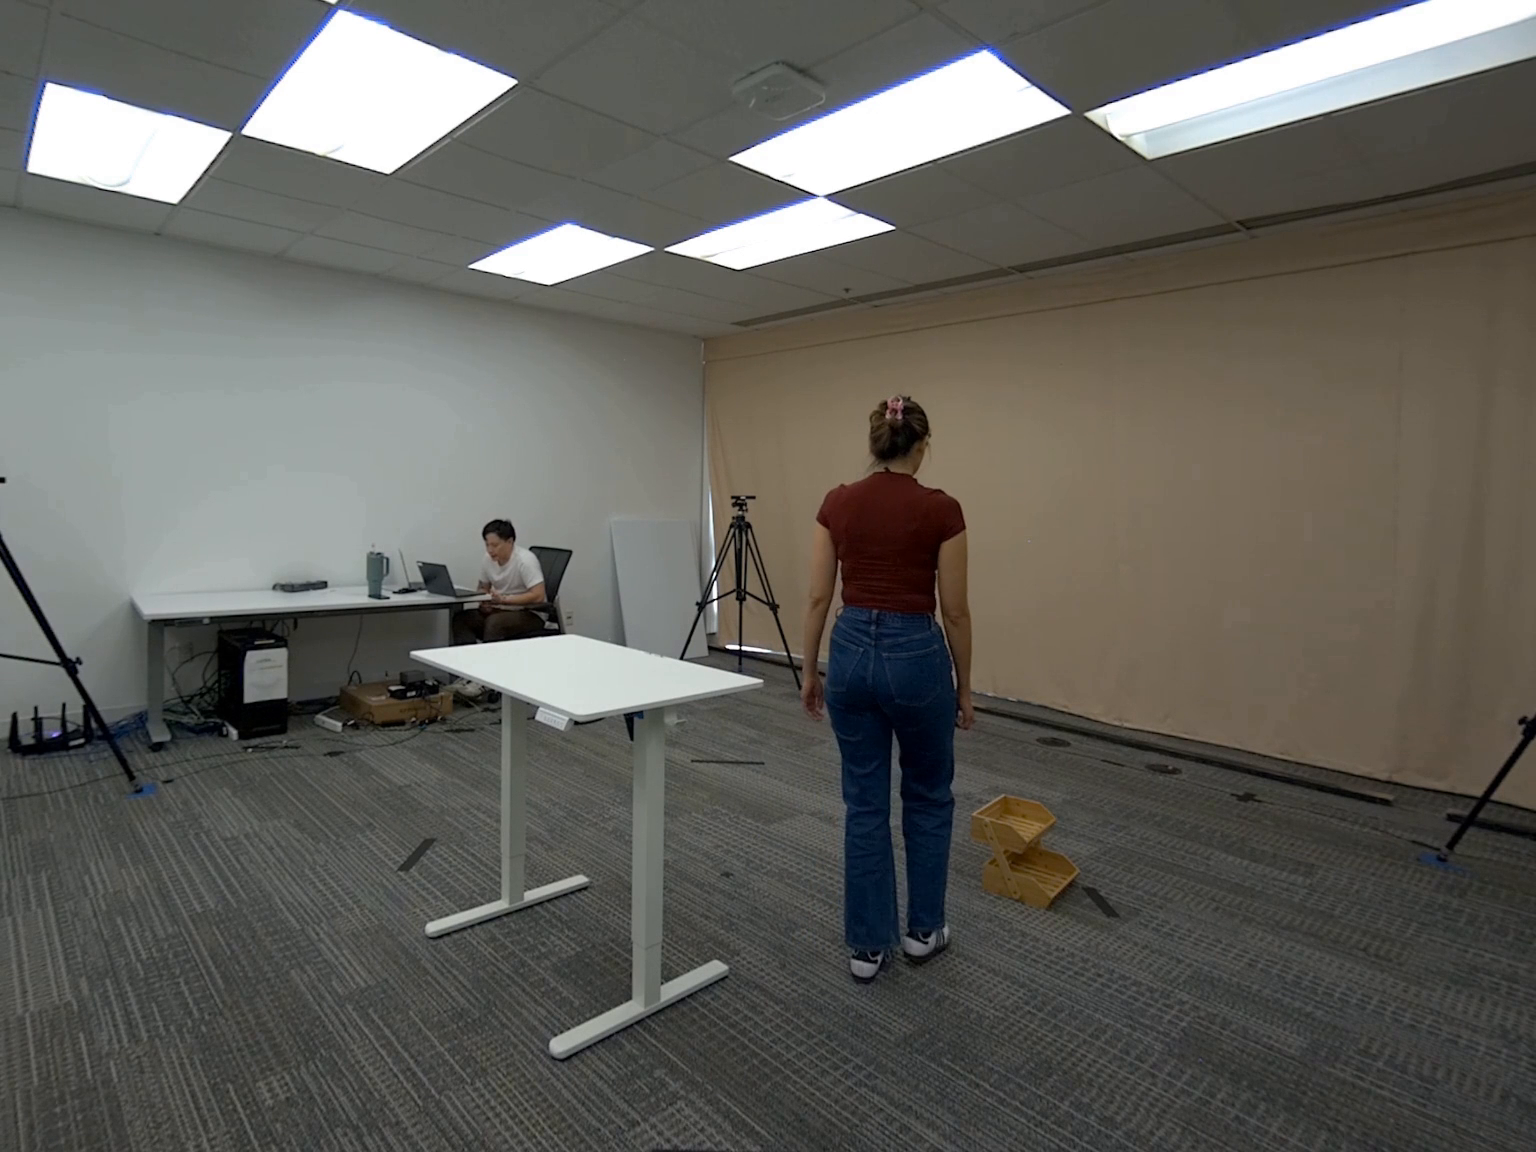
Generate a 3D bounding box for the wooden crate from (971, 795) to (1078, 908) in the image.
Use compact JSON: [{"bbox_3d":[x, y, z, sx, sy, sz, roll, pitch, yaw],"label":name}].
[{"bbox_3d":[0.939,0.998,3.090,0.309,0.273,0.317,4,5,38],"label":"wooden crate"}]
